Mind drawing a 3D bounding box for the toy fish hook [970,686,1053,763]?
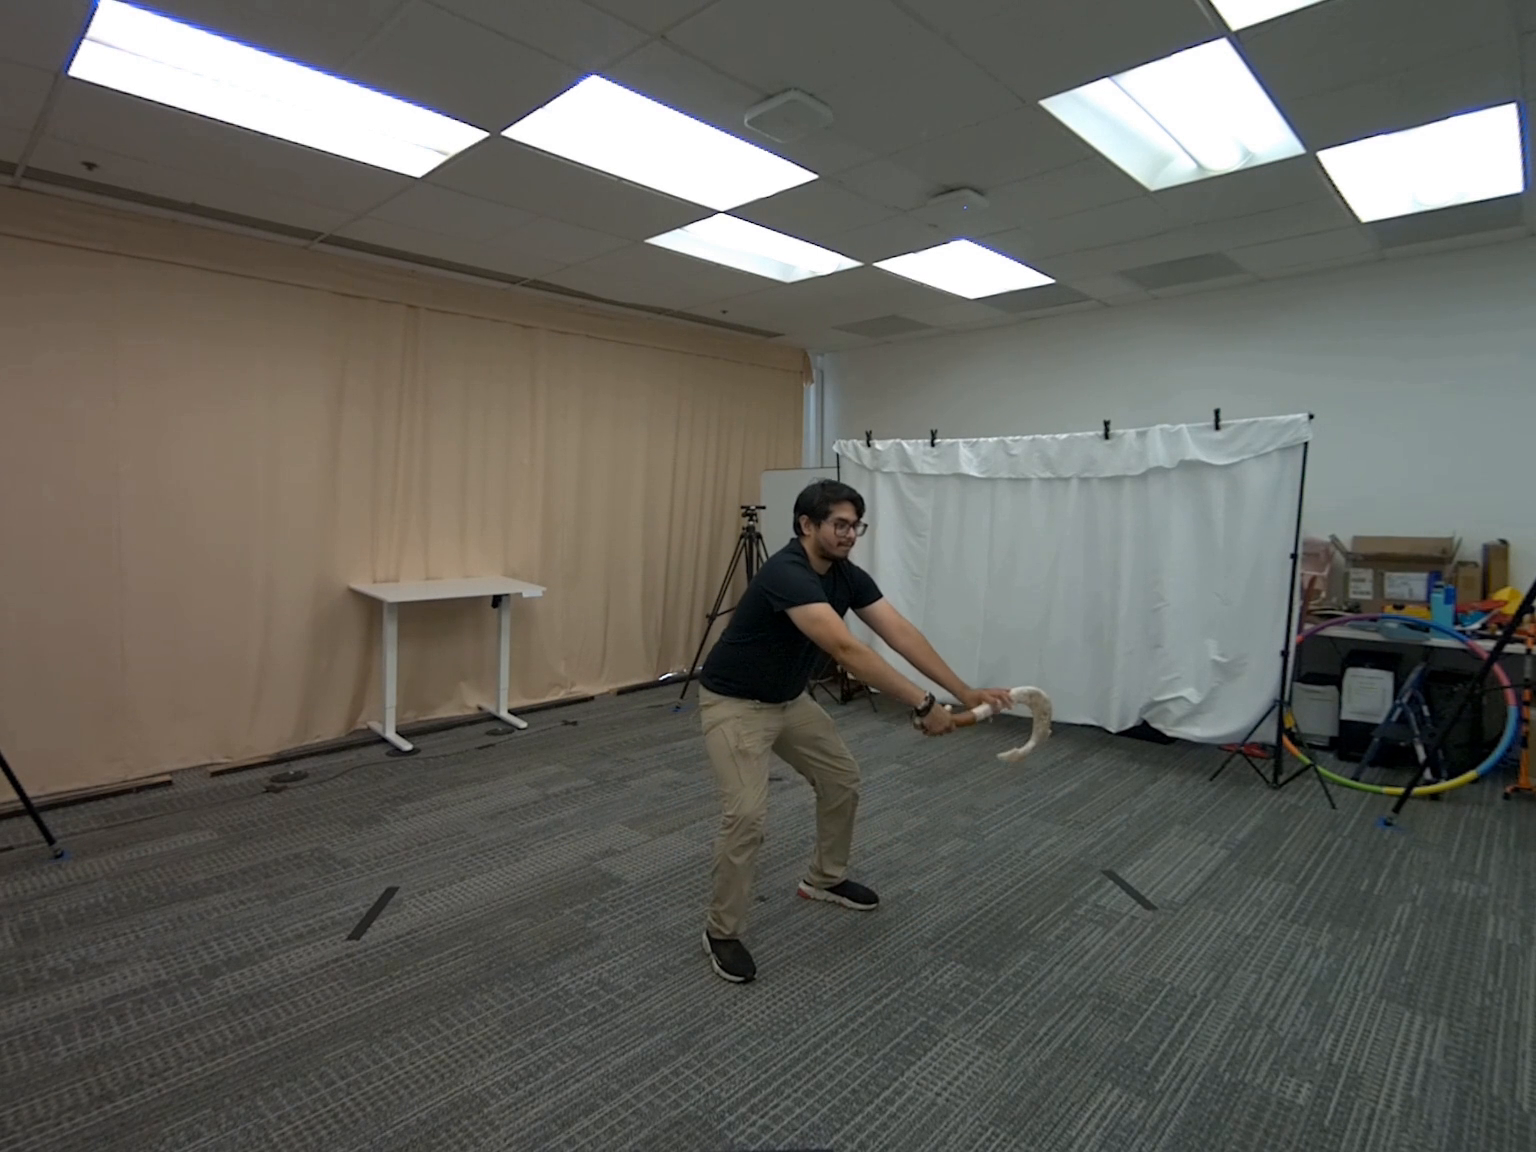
[{"bbox_3d":[0.641,0.464,2.448,0.495,0.224,0.049,-2,3,-23],"label":"toy fish hook"}]
